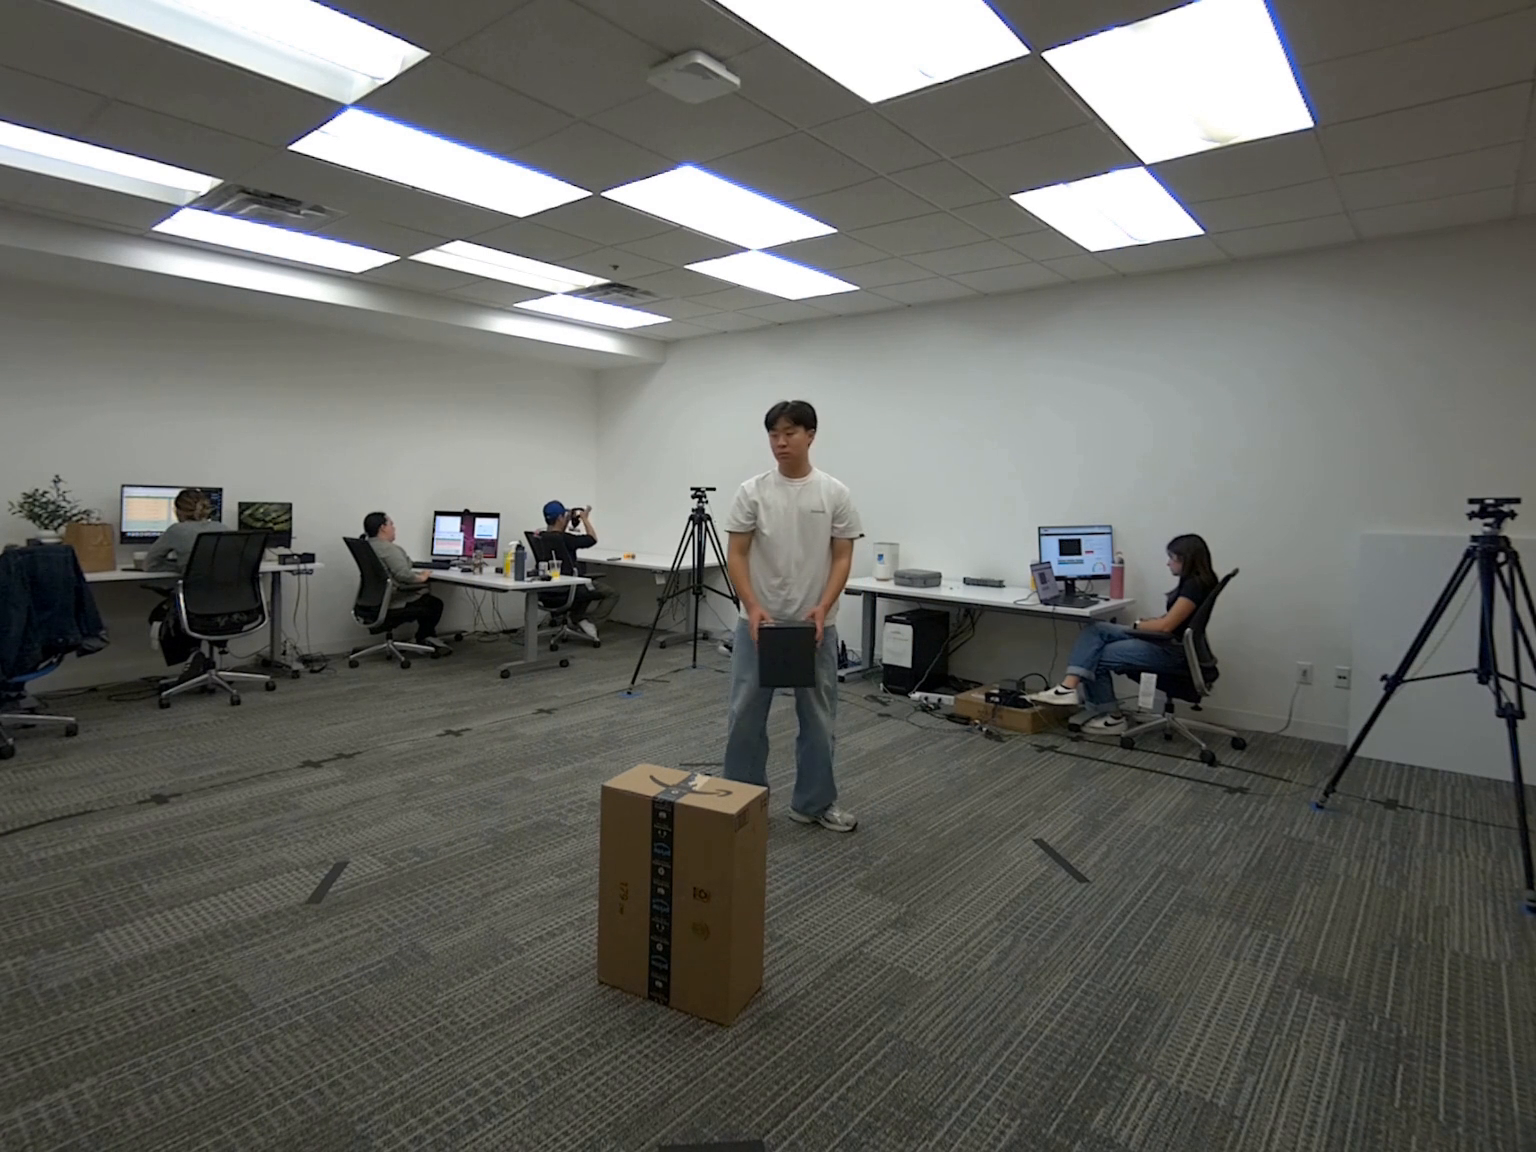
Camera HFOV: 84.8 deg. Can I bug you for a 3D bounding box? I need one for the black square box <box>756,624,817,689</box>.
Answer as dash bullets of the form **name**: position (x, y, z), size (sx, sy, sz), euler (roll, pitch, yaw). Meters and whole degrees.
- **black square box**: position (0.069, 0.290, 3.243), size (0.219, 0.227, 0.155), euler (-2, 3, 9)
